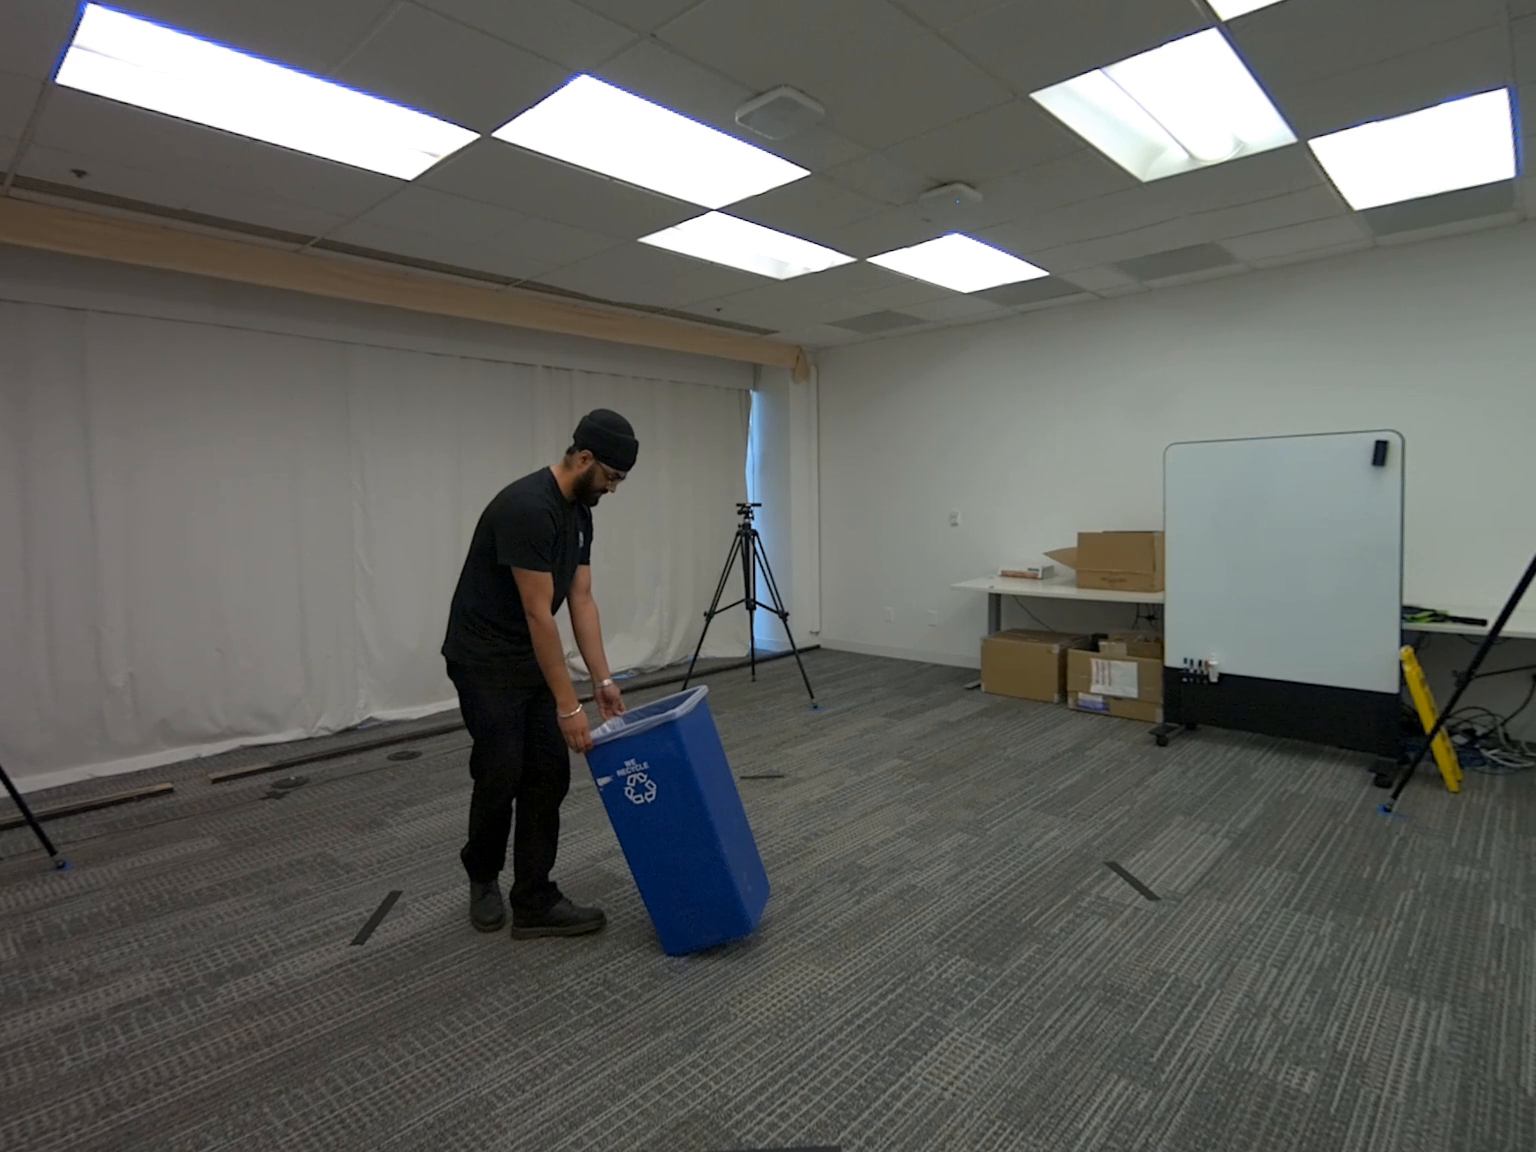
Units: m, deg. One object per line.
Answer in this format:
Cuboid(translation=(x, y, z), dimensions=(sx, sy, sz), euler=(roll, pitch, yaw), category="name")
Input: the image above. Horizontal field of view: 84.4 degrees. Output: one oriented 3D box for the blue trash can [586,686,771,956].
Cuboid(translation=(-0.286, 0.784, 2.702), dimensions=(0.378, 0.715, 0.373), euler=(-20, -2, 13), category="blue trash can")
